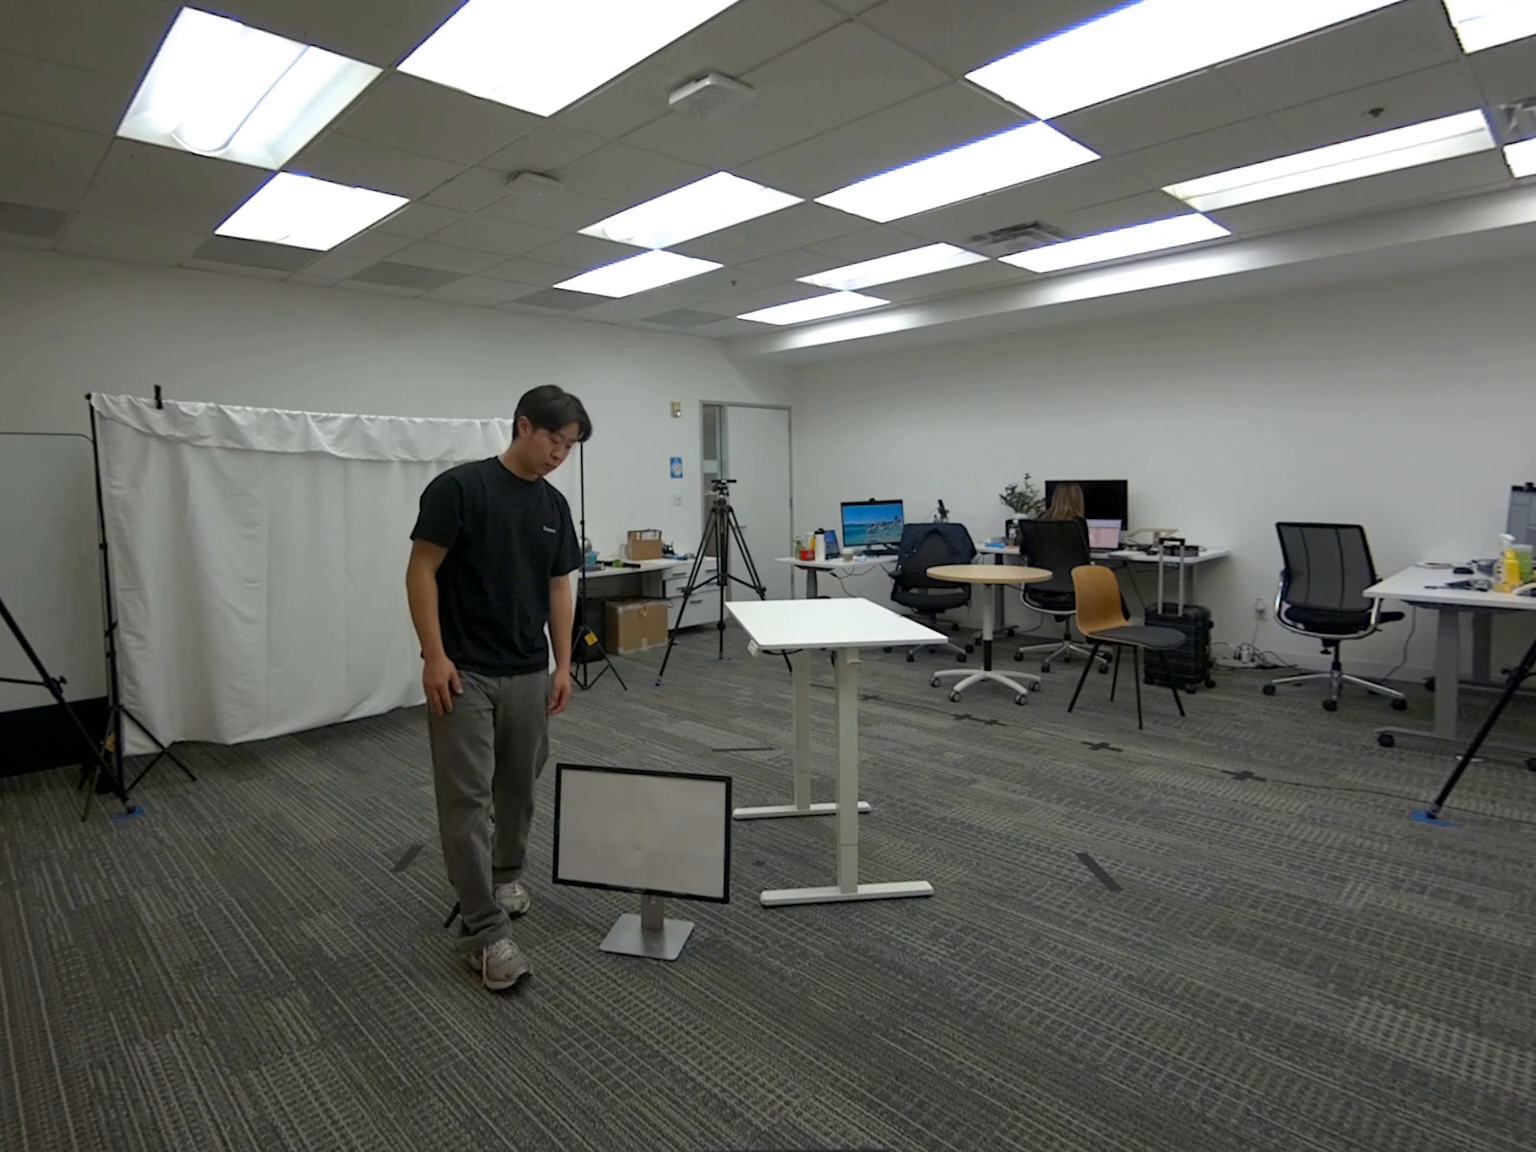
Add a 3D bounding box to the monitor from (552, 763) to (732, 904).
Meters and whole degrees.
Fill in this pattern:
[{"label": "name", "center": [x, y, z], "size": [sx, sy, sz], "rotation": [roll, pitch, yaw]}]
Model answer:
[{"label": "monitor", "center": [-0.369, 0.853, 2.586], "size": [0.571, 0.561, 0.220], "rotation": [1, 9, 16]}]
